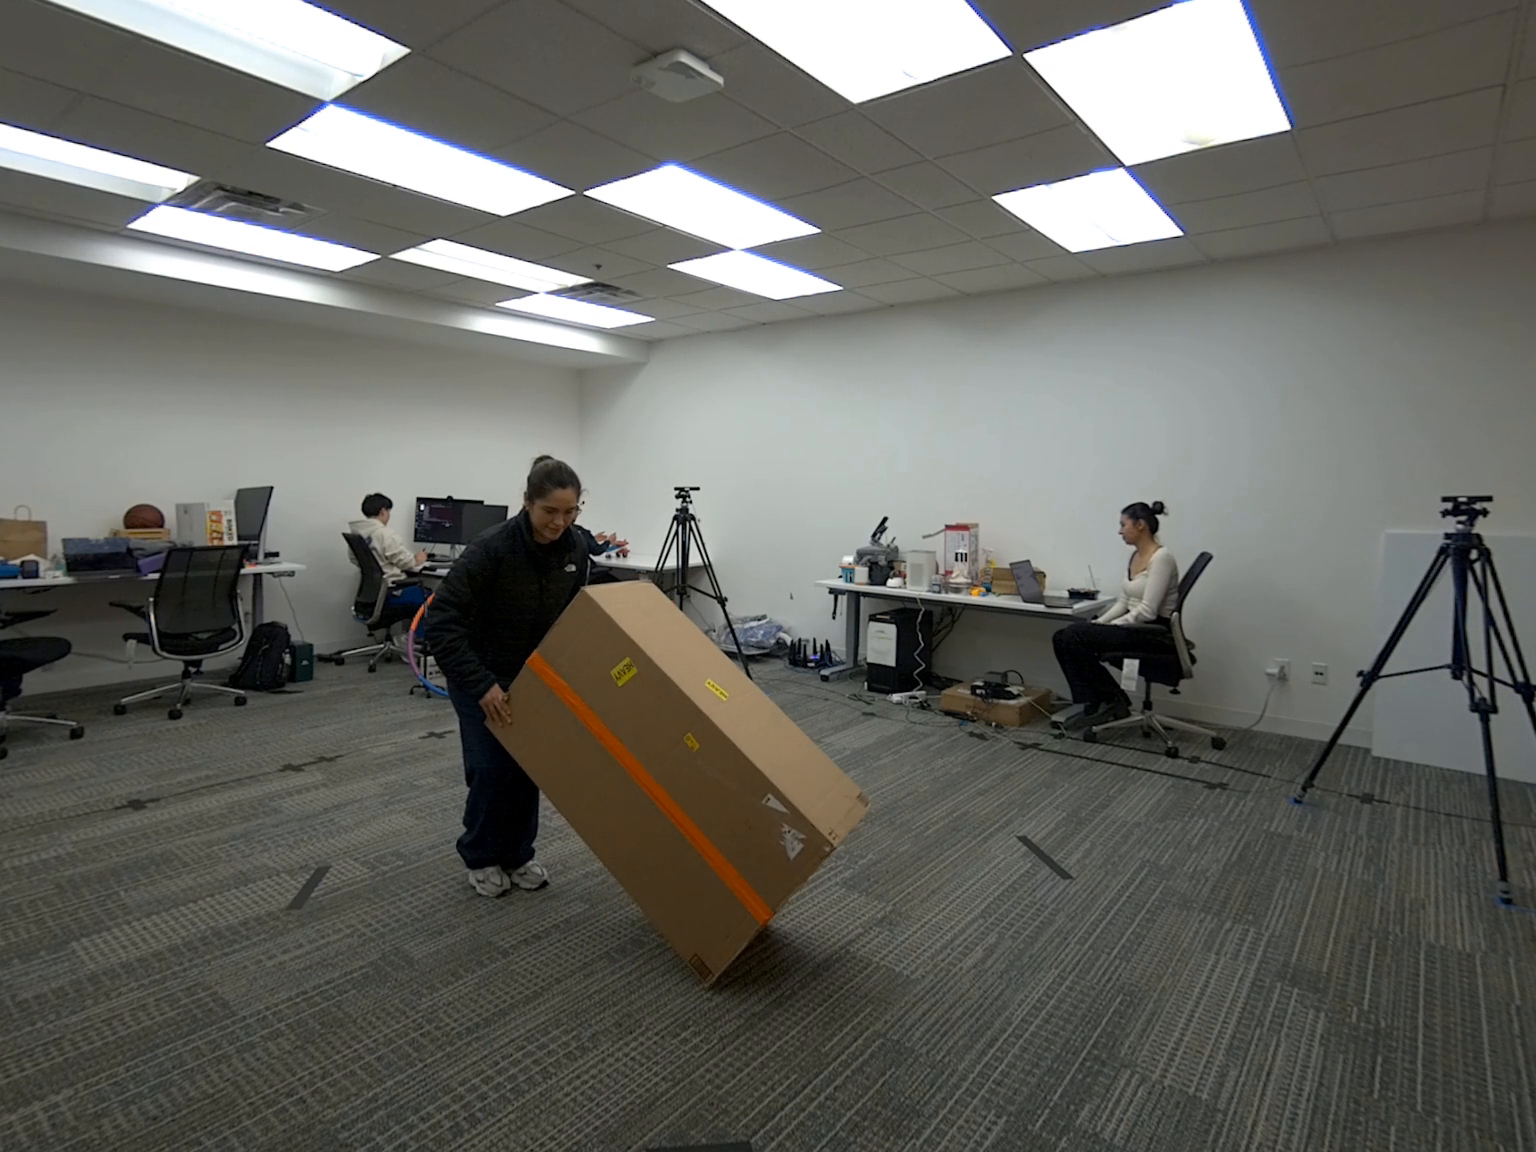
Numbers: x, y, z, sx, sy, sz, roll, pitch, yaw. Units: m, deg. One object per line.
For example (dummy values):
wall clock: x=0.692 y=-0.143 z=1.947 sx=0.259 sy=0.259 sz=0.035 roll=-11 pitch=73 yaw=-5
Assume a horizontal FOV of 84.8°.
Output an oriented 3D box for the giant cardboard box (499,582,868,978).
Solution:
giant cardboard box: x=-0.278 y=0.571 z=2.633 sx=1.053 sy=0.582 sz=0.437 roll=43 pitch=18 yaw=17
